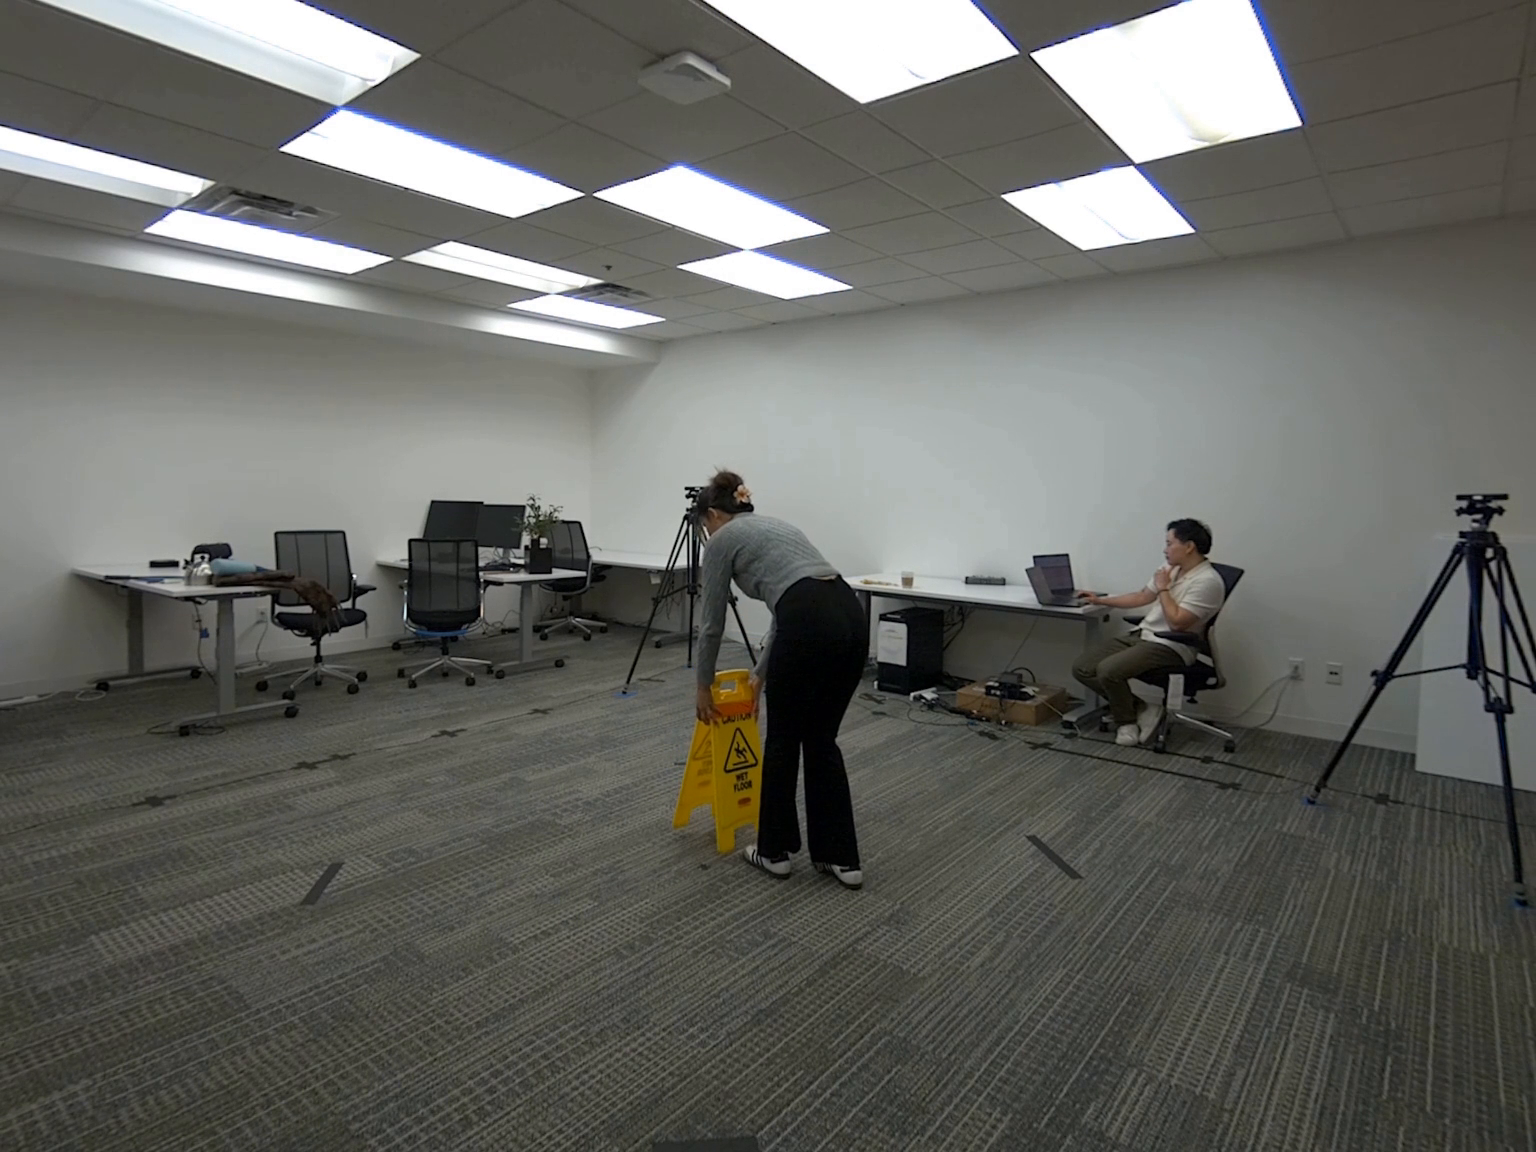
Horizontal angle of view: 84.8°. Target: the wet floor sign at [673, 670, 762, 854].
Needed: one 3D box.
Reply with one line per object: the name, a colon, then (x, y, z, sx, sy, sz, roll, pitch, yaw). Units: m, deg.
wet floor sign: (-0.180, 0.690, 3.356, 0.273, 0.644, 0.300, 0, 4, -43)
